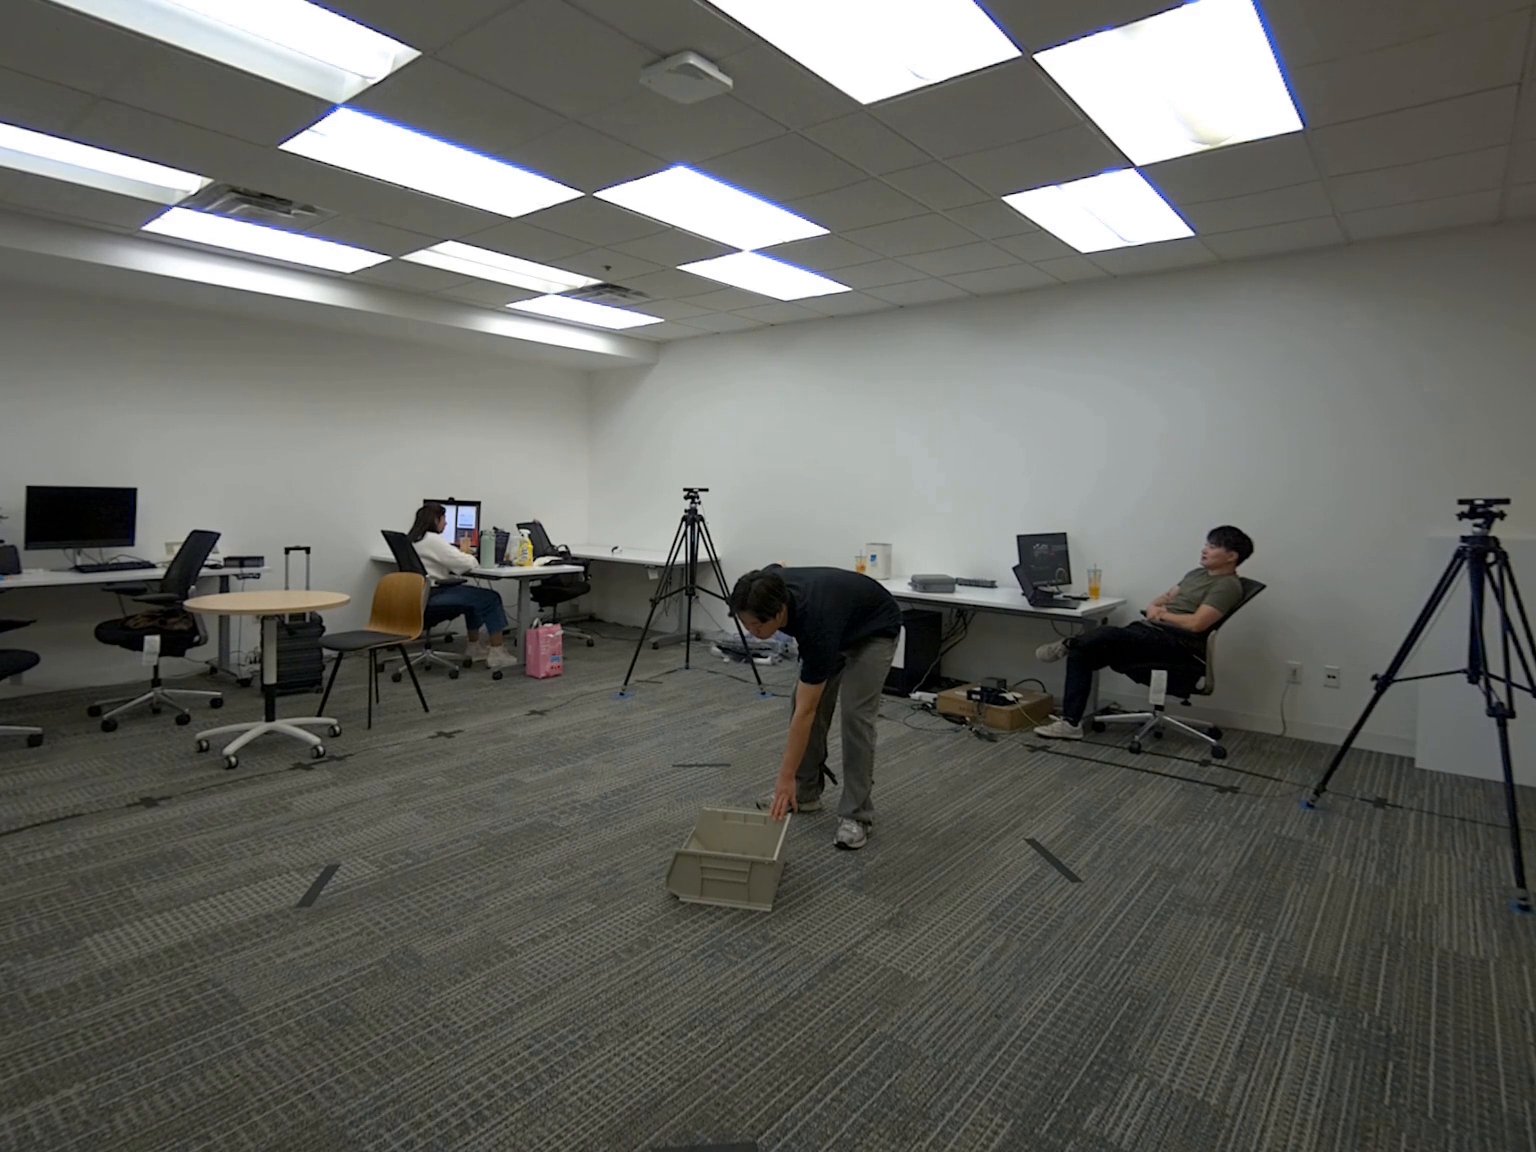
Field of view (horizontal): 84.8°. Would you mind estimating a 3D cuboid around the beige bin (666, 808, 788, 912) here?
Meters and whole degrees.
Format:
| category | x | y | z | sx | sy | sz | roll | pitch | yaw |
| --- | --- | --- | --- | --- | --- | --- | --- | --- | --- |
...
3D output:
| category | x | y | z | sx | sy | sz | roll | pitch | yaw |
| --- | --- | --- | --- | --- | --- | --- | --- | --- | --- |
| beige bin | -0.141 | 0.991 | 3.027 | 0.382 | 0.188 | 0.419 | 3 | 5 | 9 |
